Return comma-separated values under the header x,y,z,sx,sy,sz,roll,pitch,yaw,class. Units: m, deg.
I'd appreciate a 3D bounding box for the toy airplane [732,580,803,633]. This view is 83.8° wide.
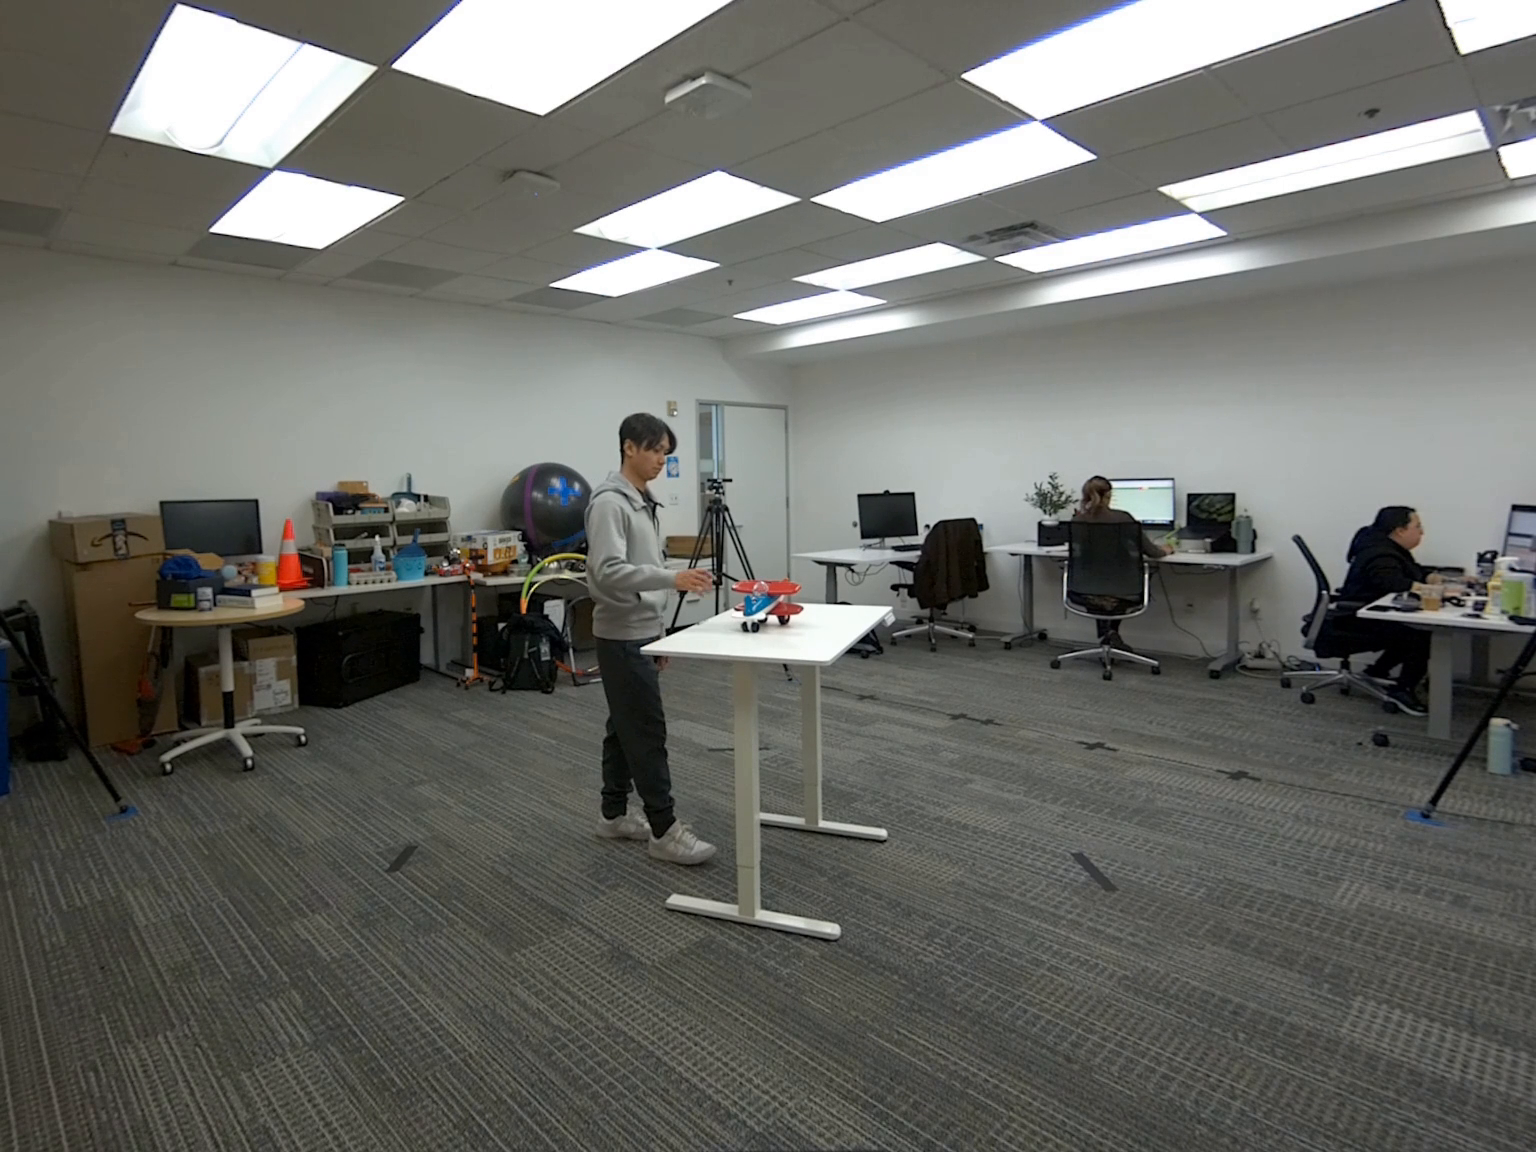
x,y,z,sx,sy,sz,roll,pitch,yaw,class
0.001,0.102,2.960,0.251,0.156,0.260,-2,5,-1,toy airplane
